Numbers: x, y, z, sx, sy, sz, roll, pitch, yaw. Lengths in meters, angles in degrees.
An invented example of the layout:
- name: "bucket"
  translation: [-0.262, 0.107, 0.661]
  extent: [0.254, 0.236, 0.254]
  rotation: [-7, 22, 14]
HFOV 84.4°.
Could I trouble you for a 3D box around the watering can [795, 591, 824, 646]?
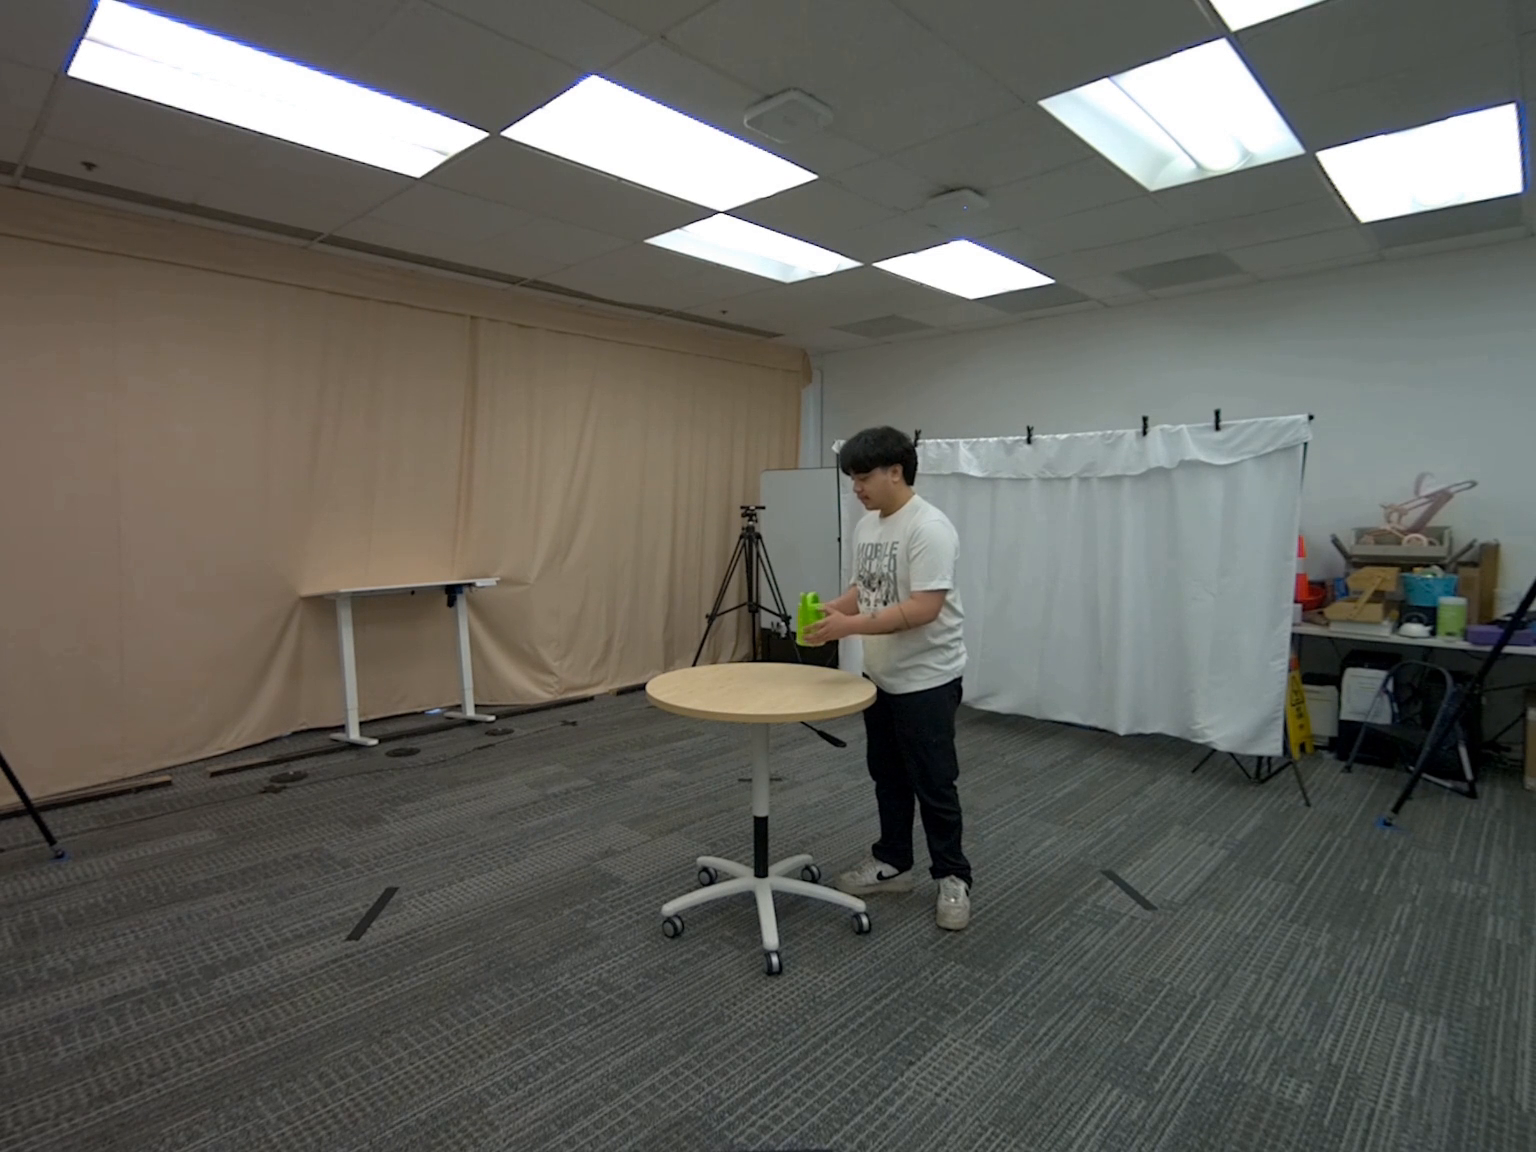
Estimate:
- name: "watering can"
  translation: [0.132, 0.148, 2.784]
  extent: [0.101, 0.177, 0.270]
  rotation: [5, 1, 32]
